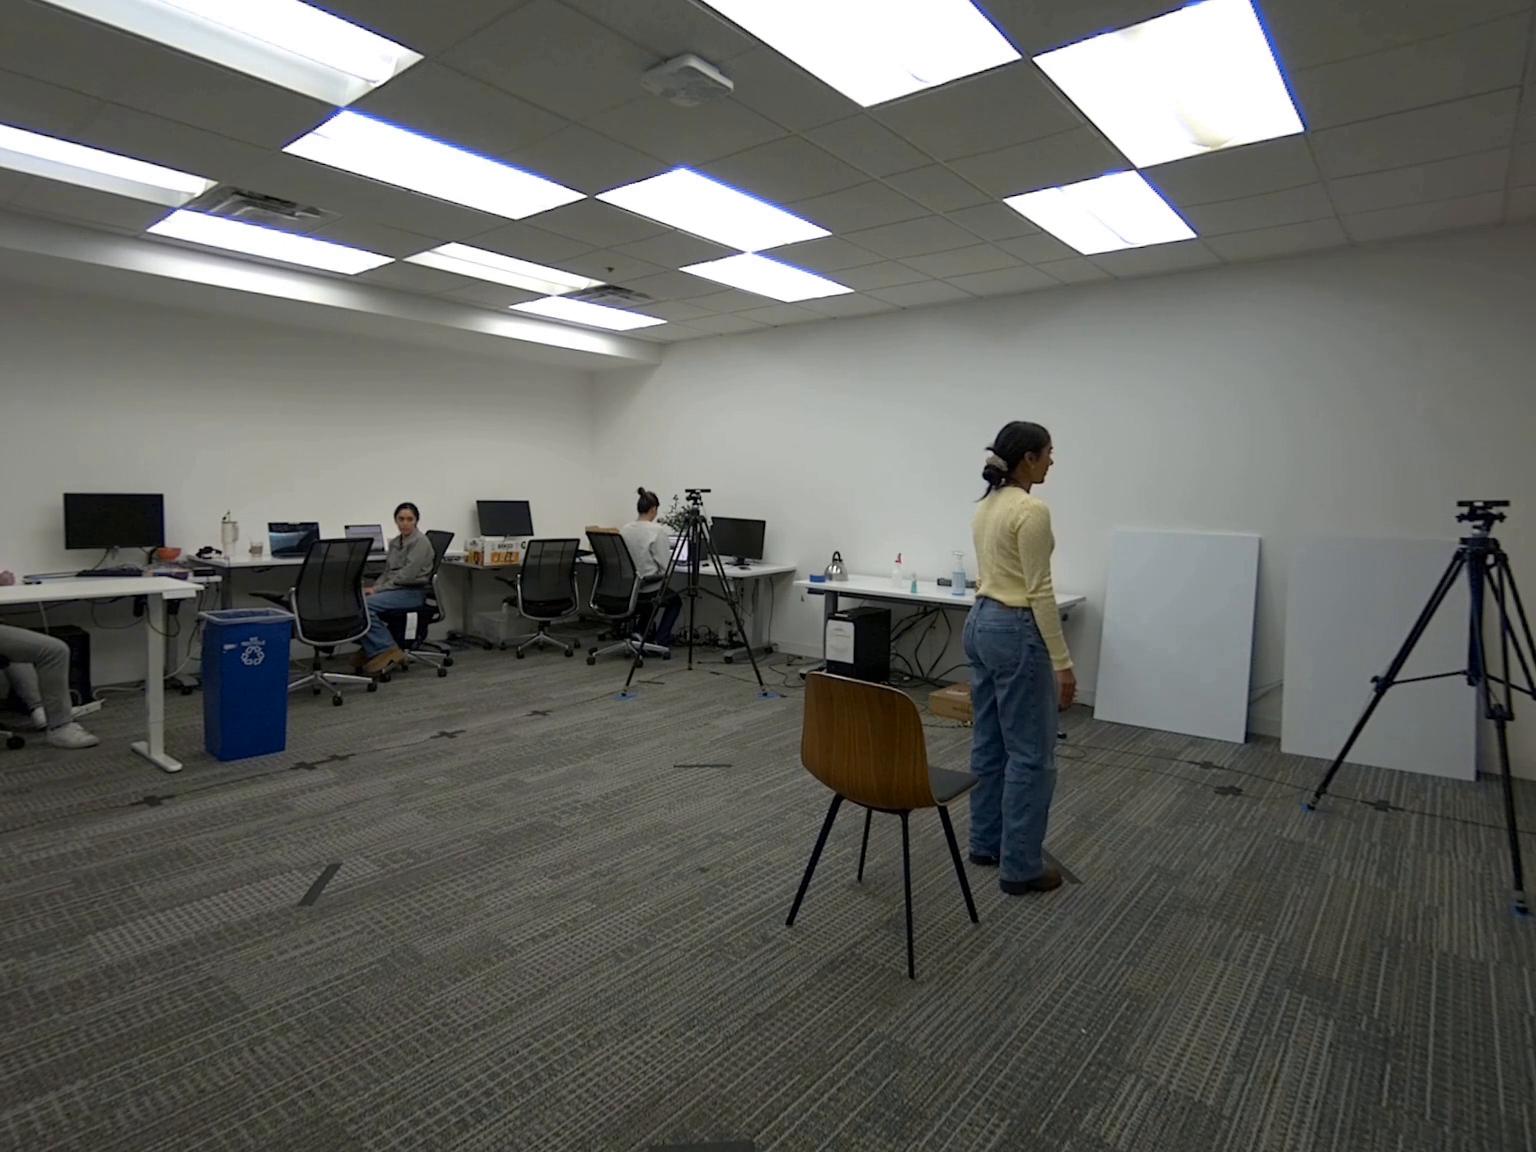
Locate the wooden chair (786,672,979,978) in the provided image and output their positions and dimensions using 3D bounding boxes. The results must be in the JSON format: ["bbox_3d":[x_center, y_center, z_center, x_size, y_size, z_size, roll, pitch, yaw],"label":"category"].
[{"bbox_3d":[0.379,0.696,2.731,0.494,0.872,0.509,4,8,38],"label":"wooden chair"}]
